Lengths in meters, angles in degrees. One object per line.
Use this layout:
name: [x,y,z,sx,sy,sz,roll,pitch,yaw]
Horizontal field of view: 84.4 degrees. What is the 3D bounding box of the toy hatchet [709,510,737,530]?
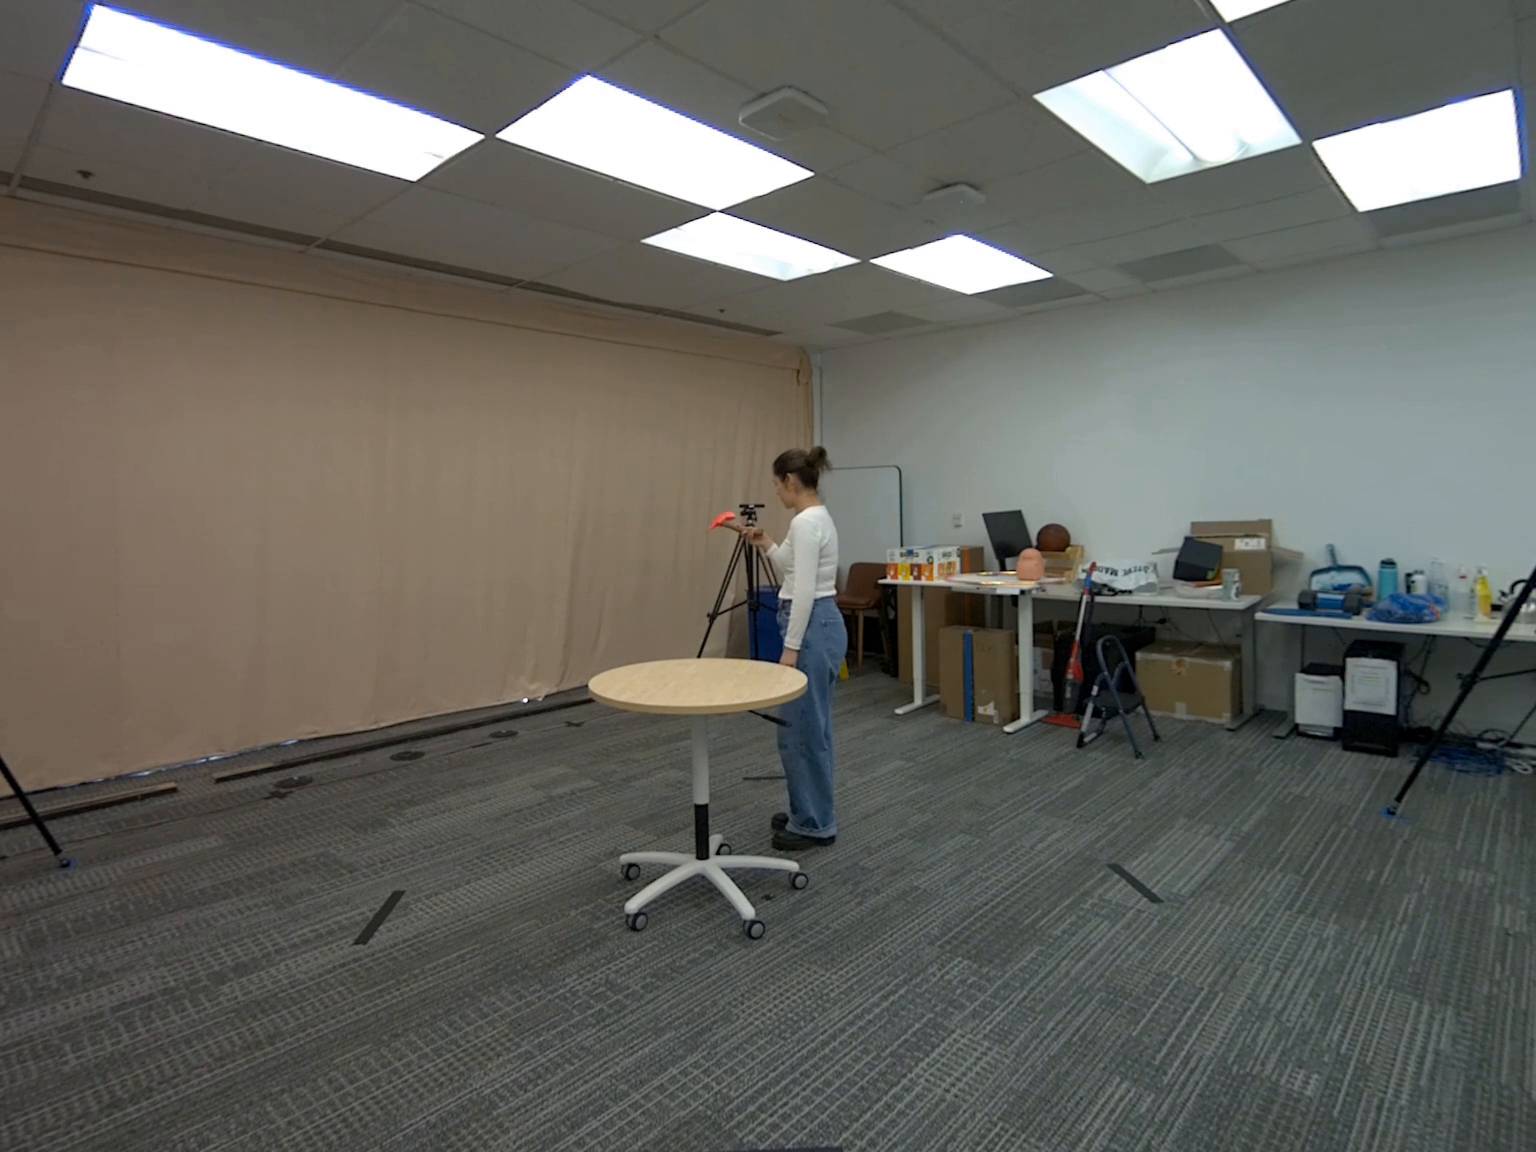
toy hatchet: [-0.116,-0.239,3.814,0.278,0.029,0.131,10,49,29]
